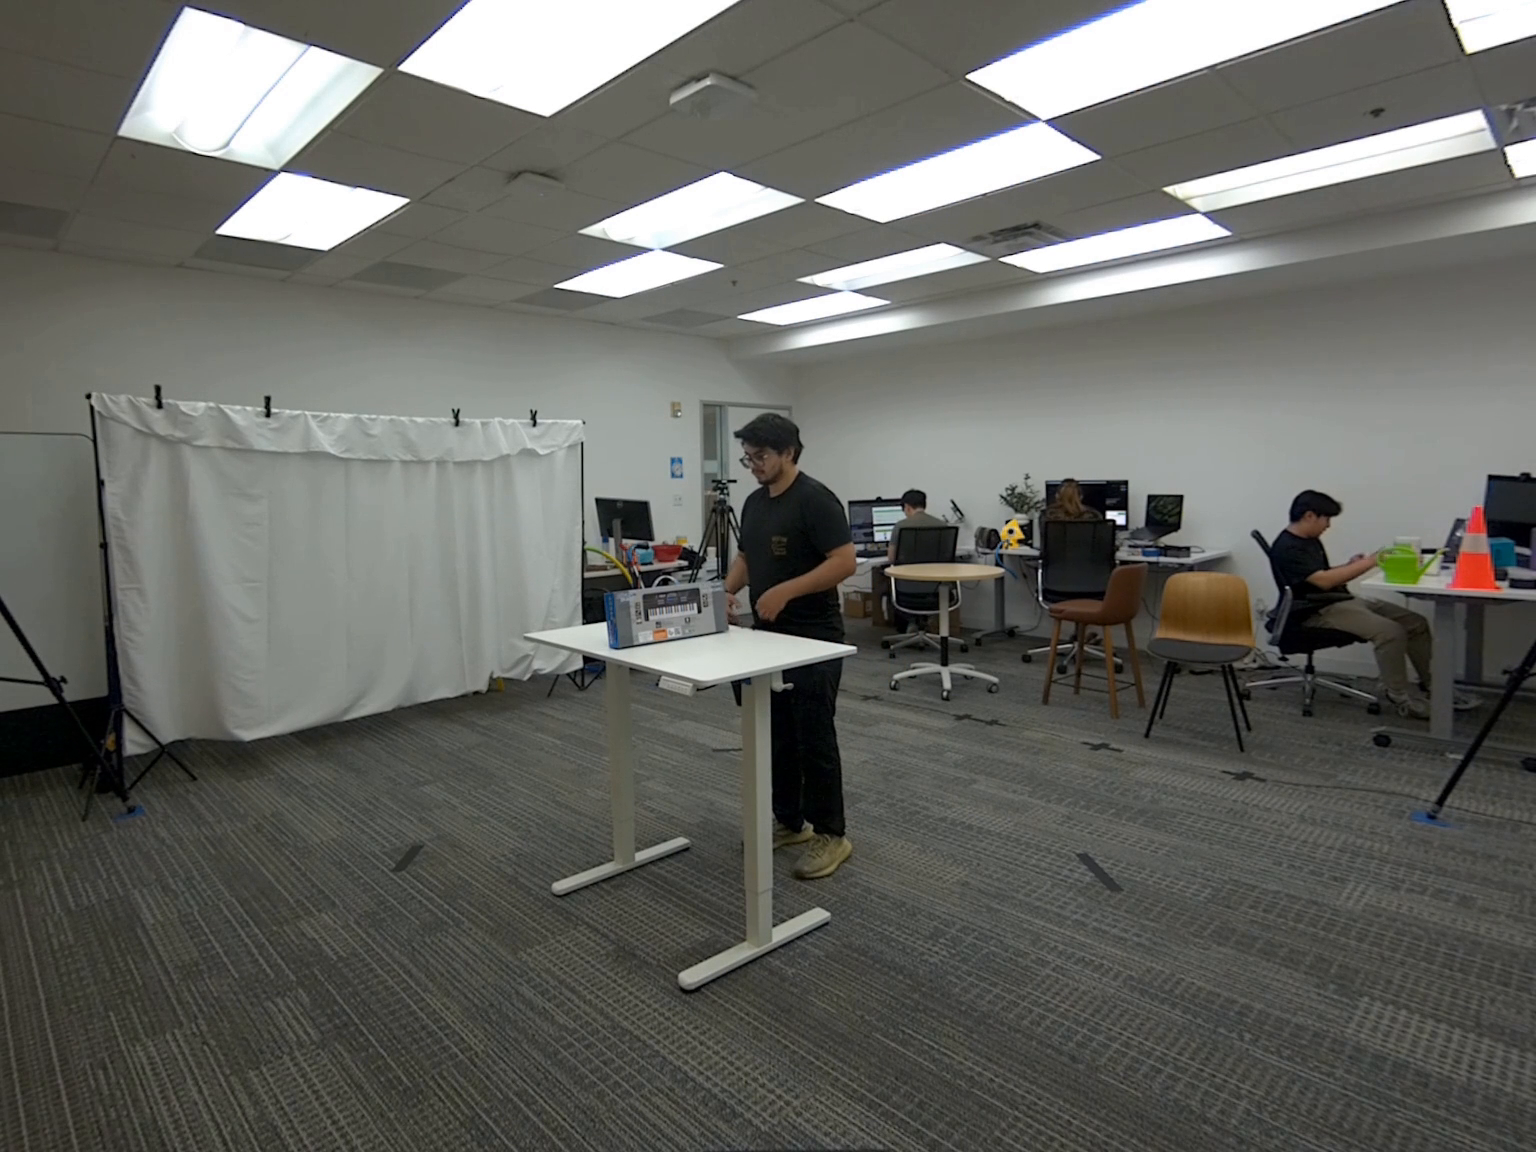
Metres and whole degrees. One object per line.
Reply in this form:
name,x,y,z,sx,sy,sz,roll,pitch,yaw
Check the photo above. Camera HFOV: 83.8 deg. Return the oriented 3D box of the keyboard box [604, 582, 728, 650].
keyboard box,-0.322,0.121,2.779,0.426,0.176,0.060,-6,-1,-39
